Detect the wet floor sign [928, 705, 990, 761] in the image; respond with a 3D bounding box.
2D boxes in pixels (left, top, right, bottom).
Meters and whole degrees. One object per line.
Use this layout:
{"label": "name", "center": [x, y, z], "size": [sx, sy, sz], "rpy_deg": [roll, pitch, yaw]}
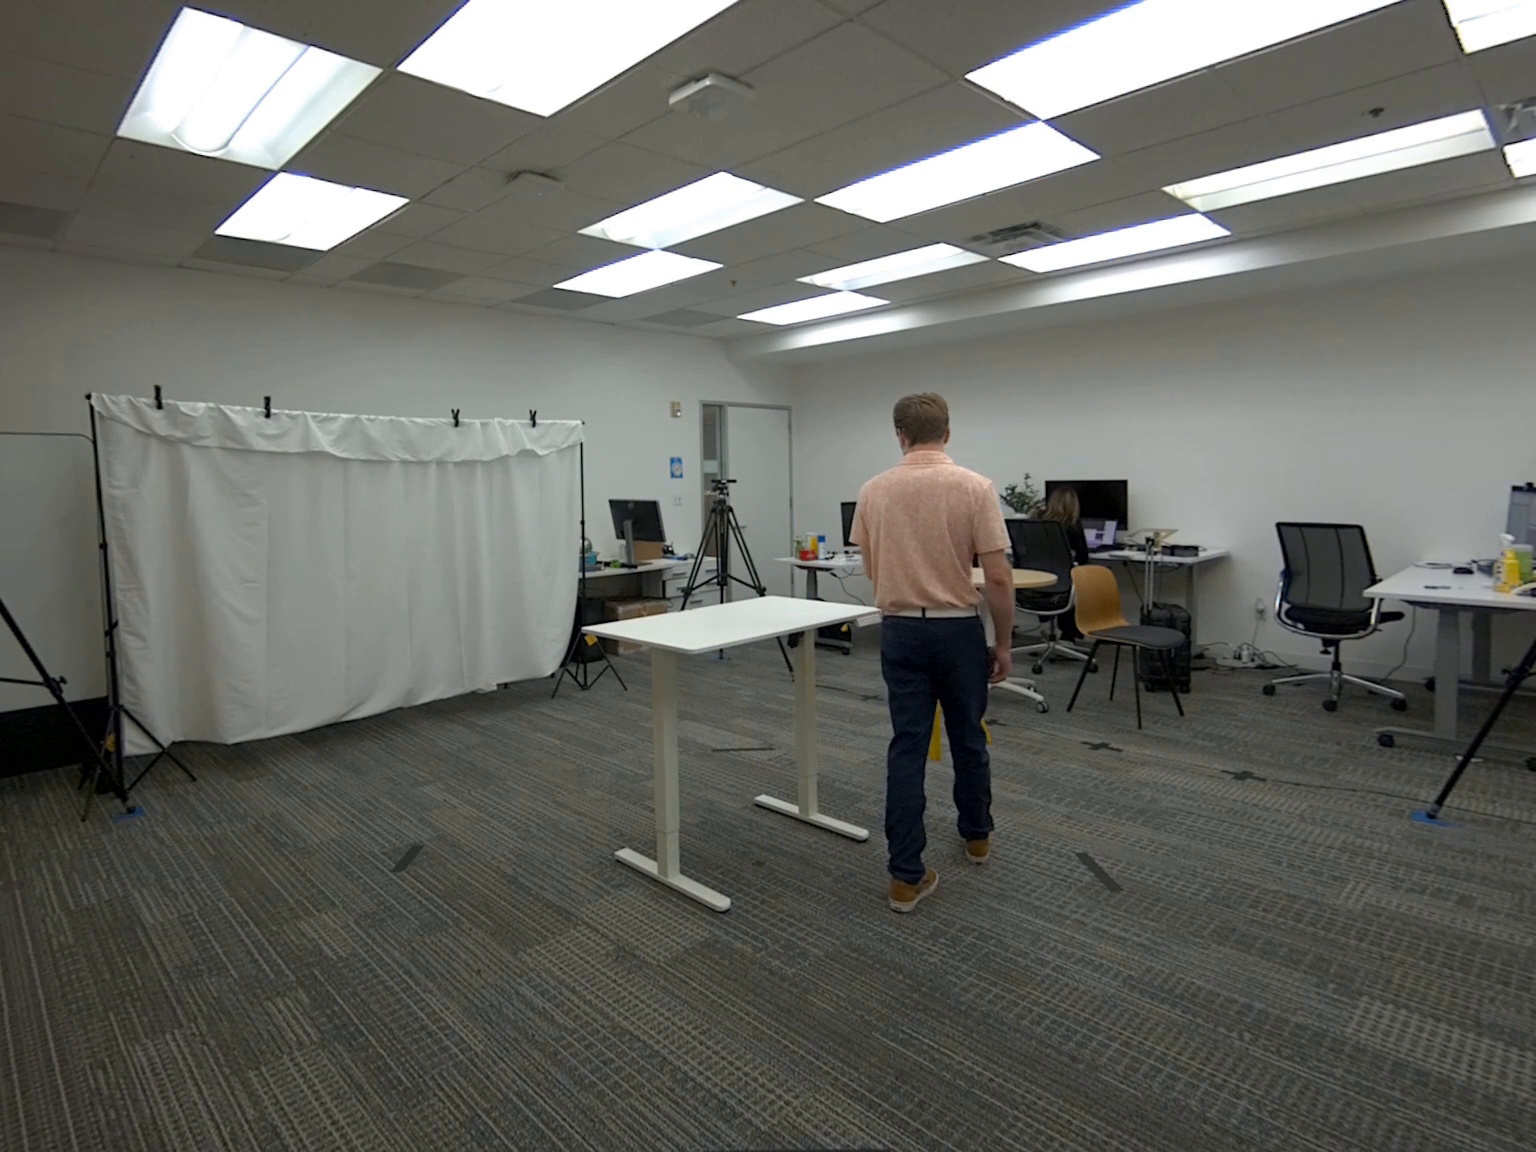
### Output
{"label": "wet floor sign", "center": [0.650, 0.340, 3.320], "size": [0.285, 0.642, 0.288], "rpy_deg": [-12, 6, -20]}
